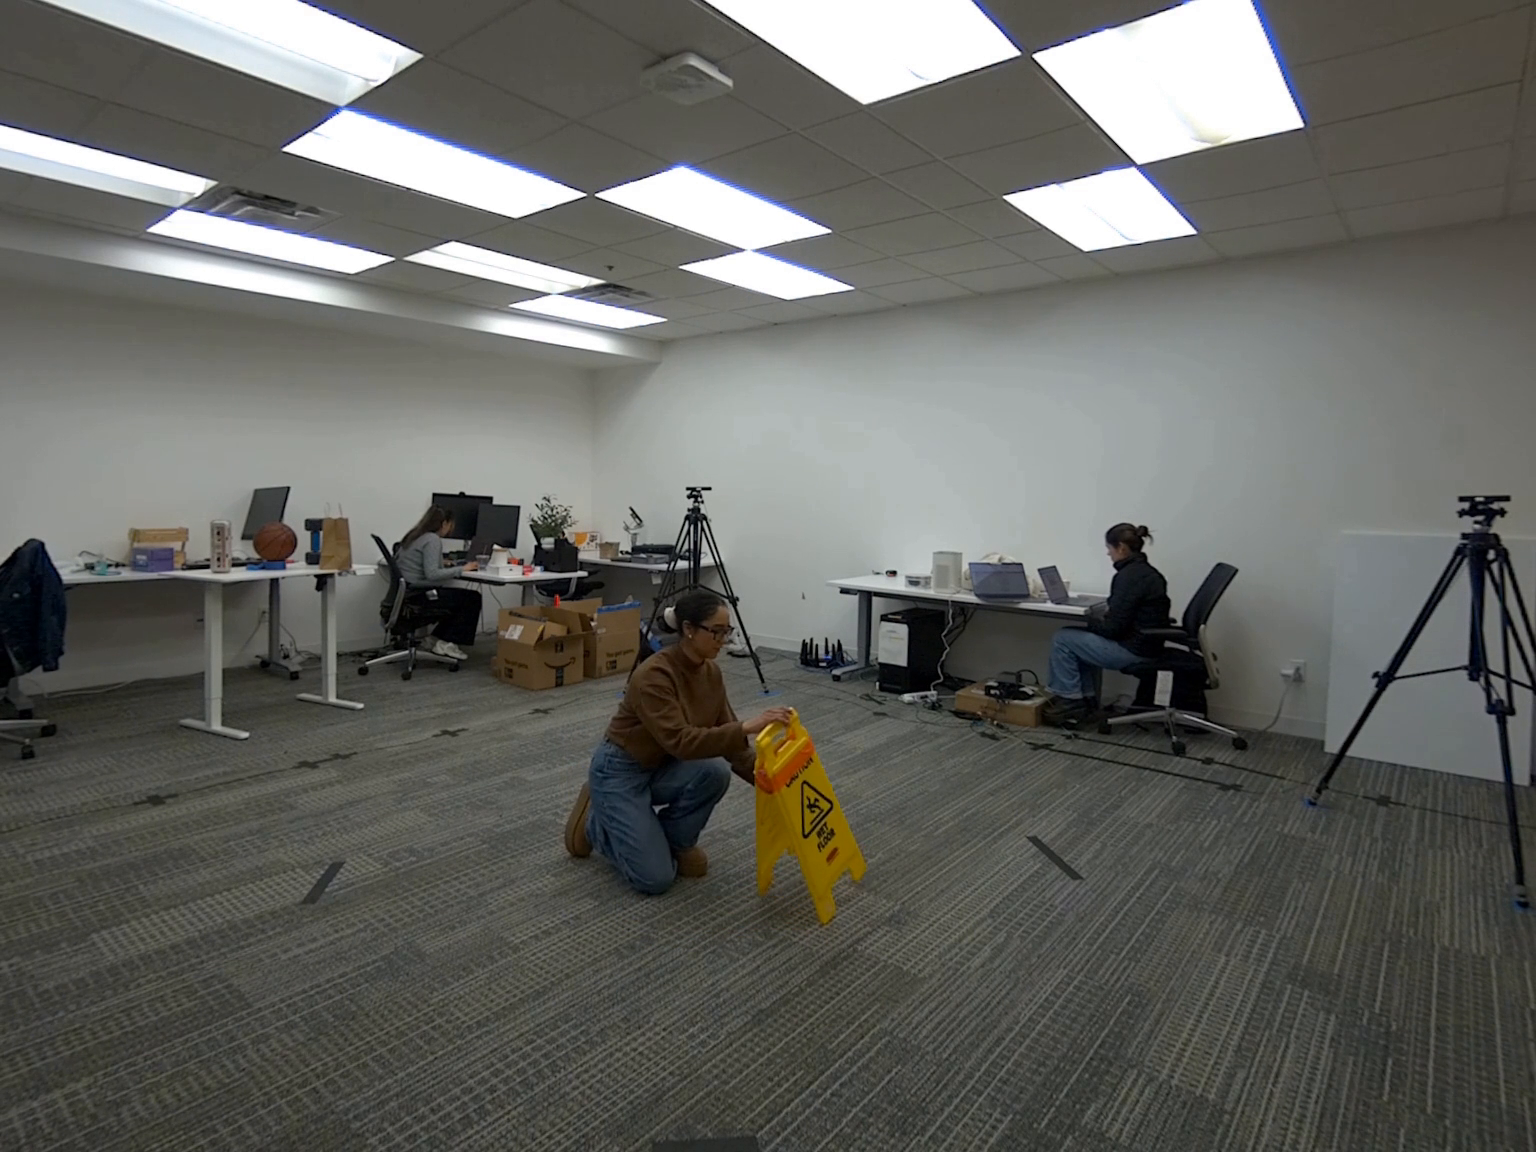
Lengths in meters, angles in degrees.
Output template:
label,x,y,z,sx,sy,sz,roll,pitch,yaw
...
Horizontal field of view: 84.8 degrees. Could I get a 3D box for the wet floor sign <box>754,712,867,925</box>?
label,x,y,z,sx,sy,sz,roll,pitch,yaw
wet floor sign,0.073,0.756,2.802,0.299,0.632,0.279,4,26,40
